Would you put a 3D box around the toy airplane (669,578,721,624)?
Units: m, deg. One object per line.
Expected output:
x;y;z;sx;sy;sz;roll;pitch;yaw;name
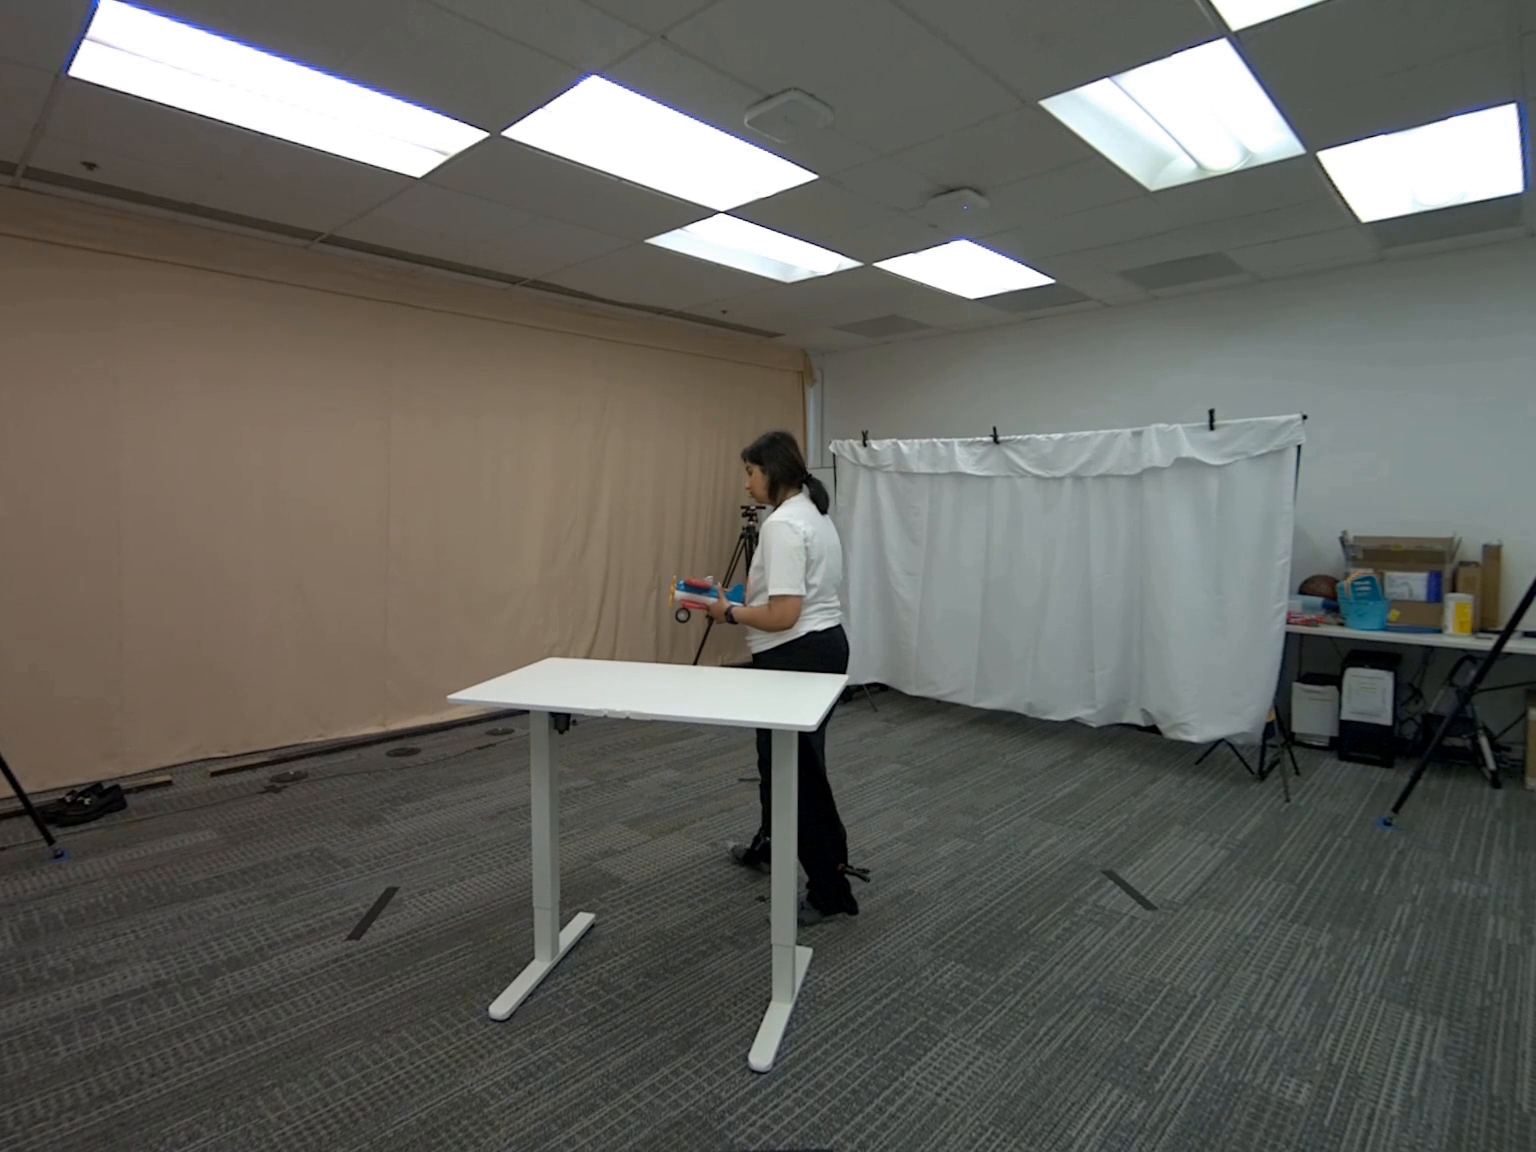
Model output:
-0.217;0.081;2.988;0.252;0.156;0.258;-4;0;-31;toy airplane
